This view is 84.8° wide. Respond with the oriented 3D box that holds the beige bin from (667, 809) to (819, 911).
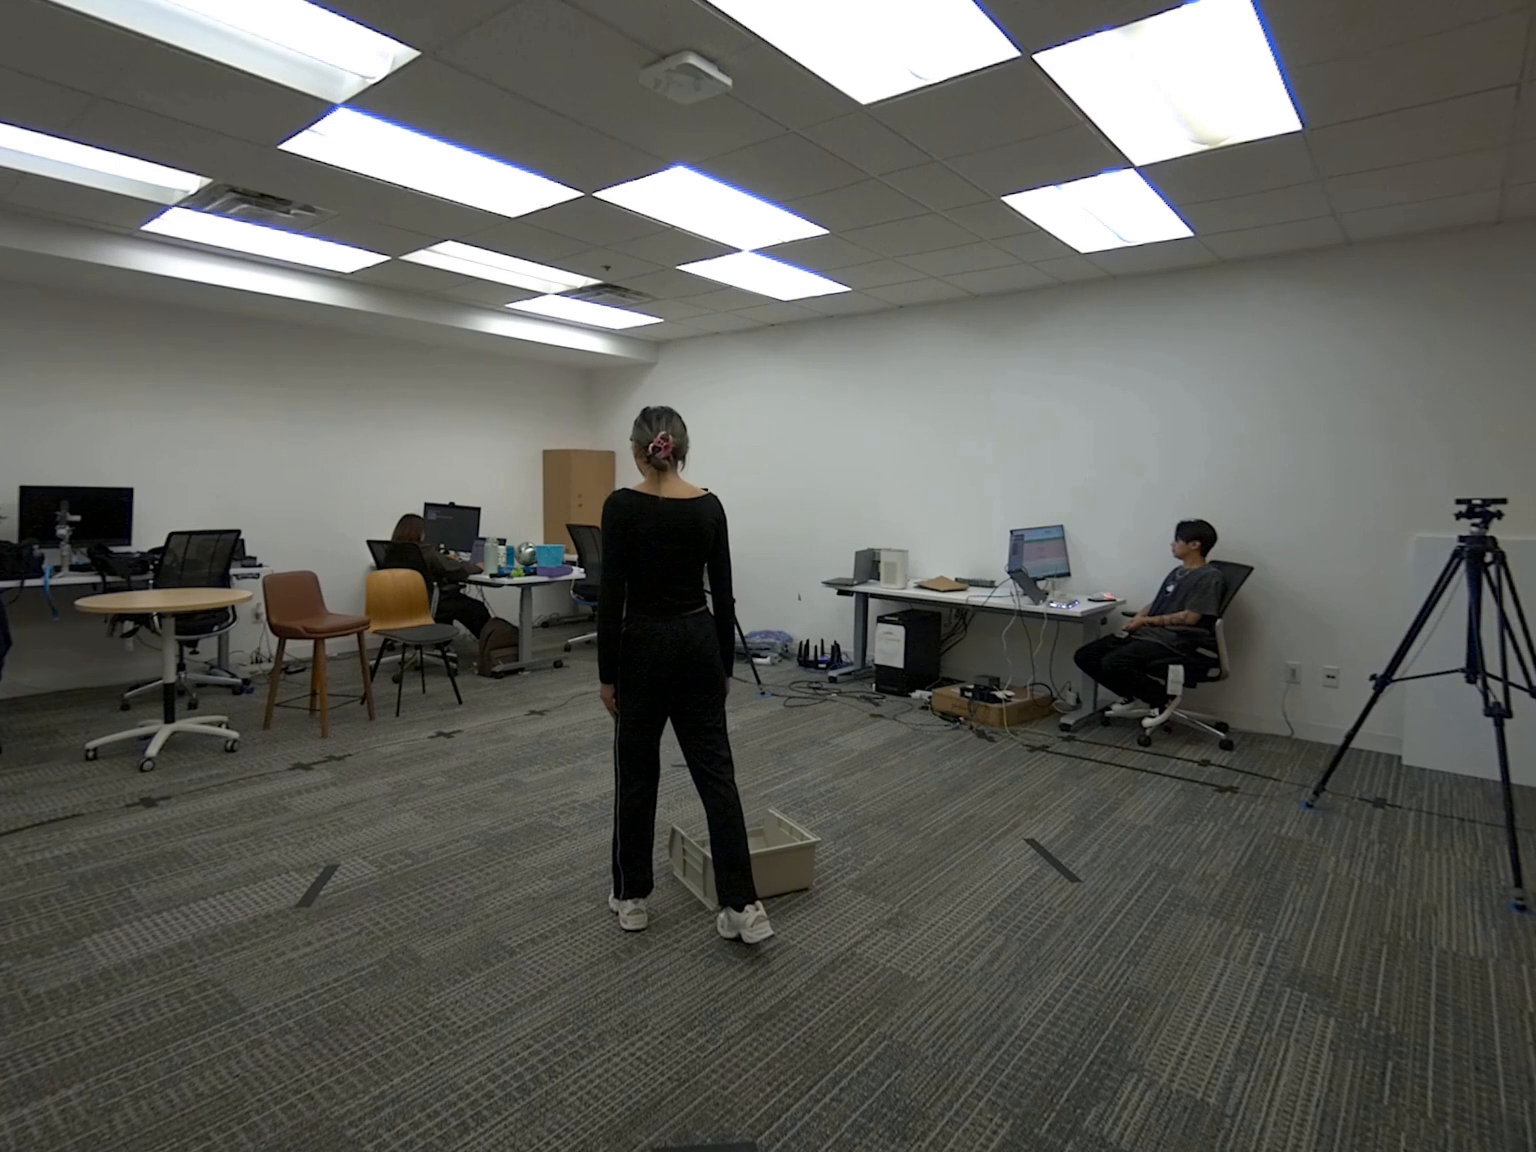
[{"bbox_3d":[-0.103,0.990,3.033,0.411,0.188,0.389,-1,7,-30],"label":"beige bin"}]
